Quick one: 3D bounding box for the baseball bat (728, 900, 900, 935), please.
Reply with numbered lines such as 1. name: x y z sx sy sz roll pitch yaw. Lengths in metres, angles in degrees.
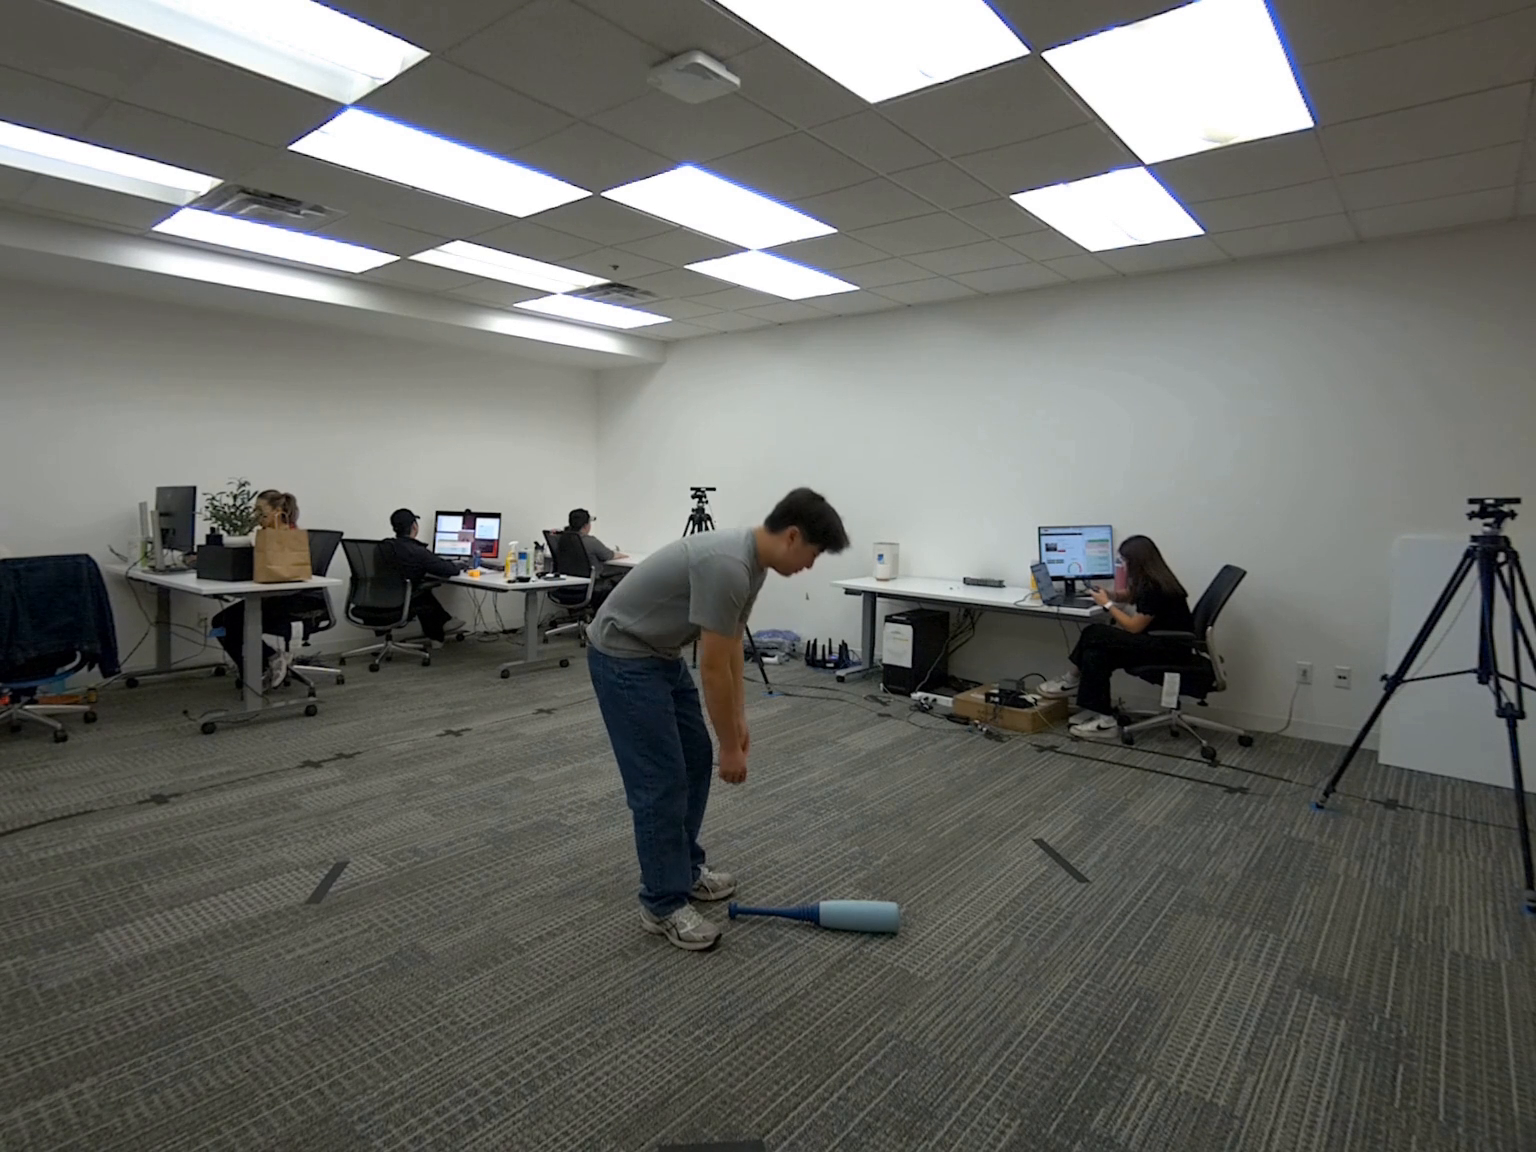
1. baseball bat: 0.137 1.078 2.710 0.546 0.089 0.089 -1 4 5
